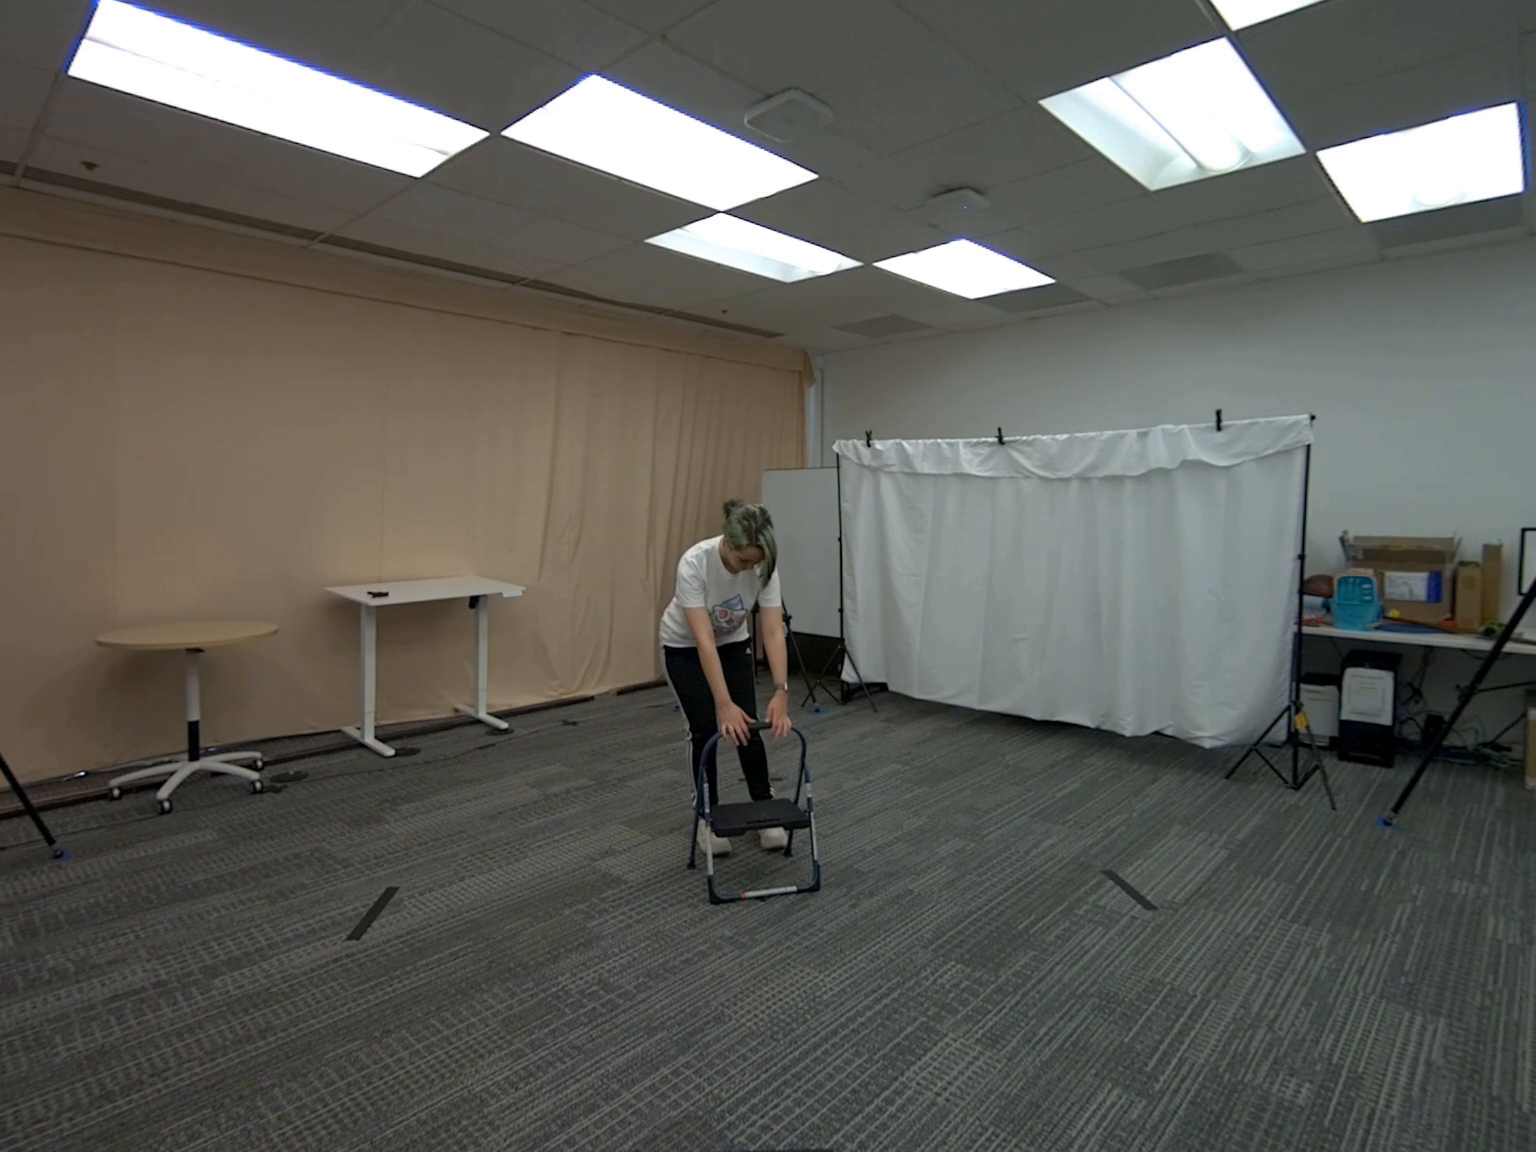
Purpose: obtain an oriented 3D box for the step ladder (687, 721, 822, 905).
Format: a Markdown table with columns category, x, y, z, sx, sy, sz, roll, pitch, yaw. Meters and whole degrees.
| category | x | y | z | sx | sy | sz | roll | pitch | yaw |
| --- | --- | --- | --- | --- | --- | --- | --- | --- | --- |
| step ladder | -0.054 | 0.830 | 3.137 | 0.423 | 0.605 | 0.356 | -2 | 3 | -17 |
